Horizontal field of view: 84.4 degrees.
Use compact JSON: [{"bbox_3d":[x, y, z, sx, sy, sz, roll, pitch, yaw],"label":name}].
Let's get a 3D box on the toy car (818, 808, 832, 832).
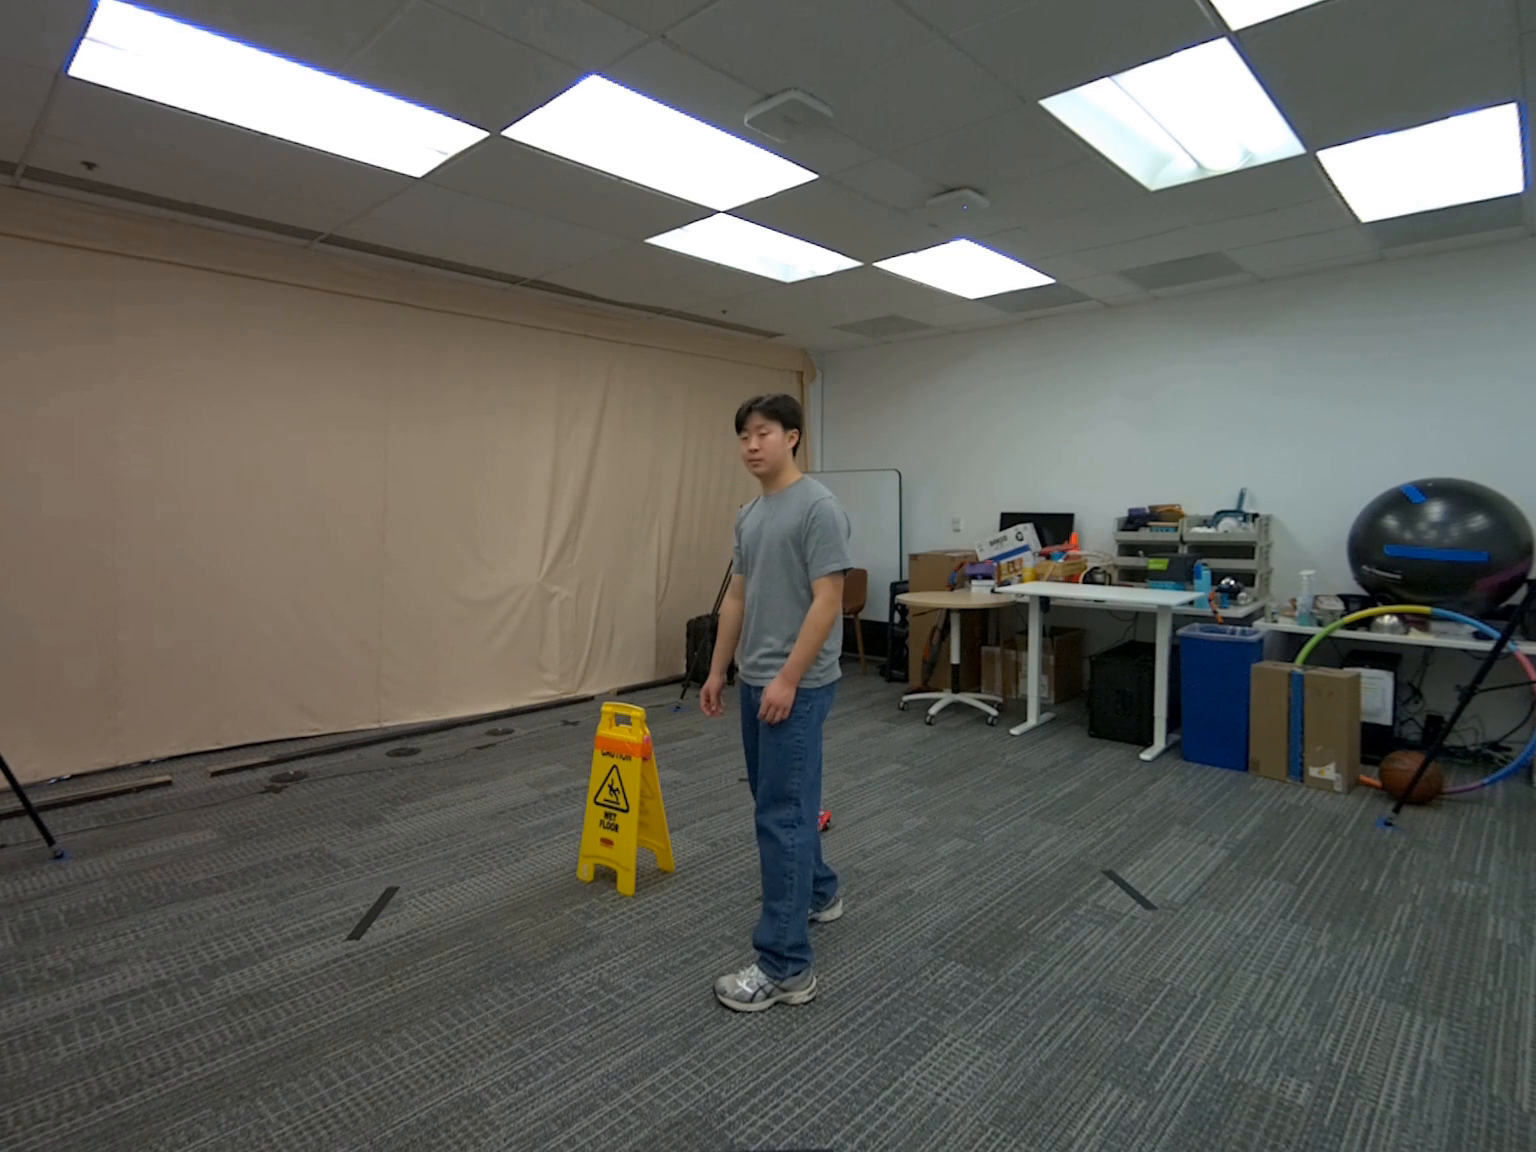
[{"bbox_3d":[0.188,1.061,3.596,0.134,0.082,0.249,2,16,30],"label":"toy car"}]
